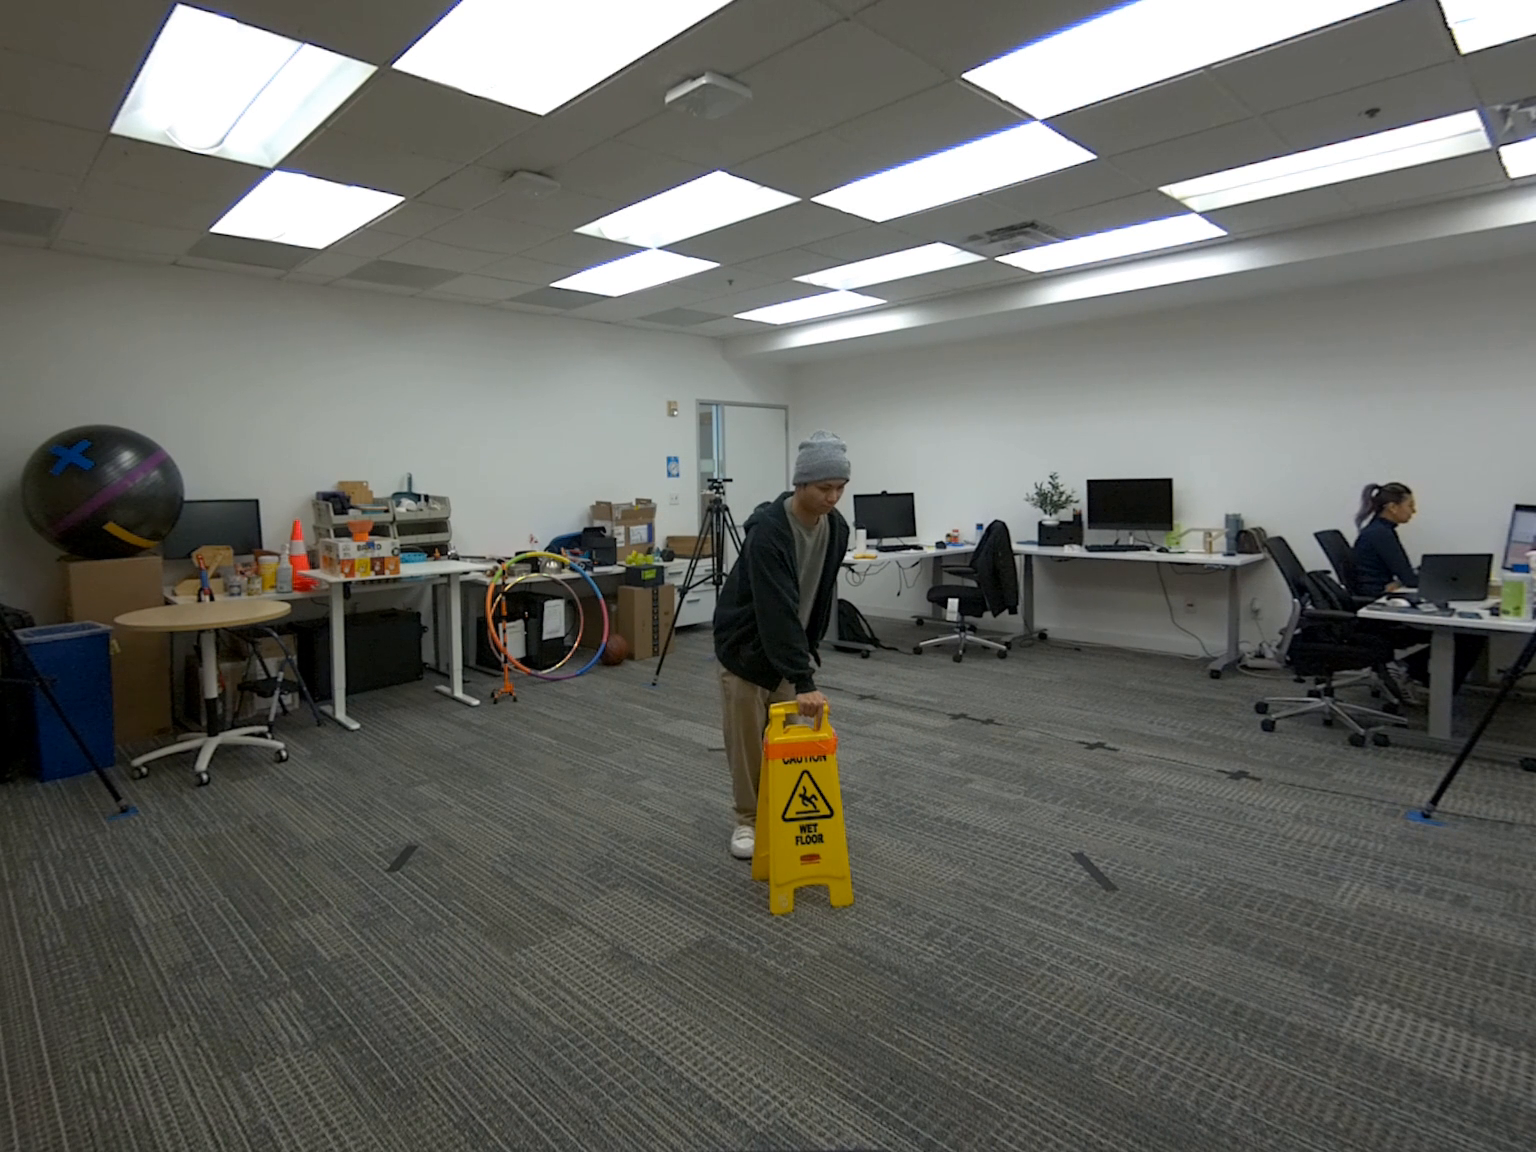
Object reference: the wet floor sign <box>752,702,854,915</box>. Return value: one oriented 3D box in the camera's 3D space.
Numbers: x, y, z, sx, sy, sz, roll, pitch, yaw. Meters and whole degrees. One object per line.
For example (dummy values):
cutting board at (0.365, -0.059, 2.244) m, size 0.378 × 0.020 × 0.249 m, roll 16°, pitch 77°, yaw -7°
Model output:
wet floor sign at (0.109, 0.744, 2.867) m, size 0.279 × 0.643 × 0.294 m, roll -3°, pitch 5°, yaw -13°
